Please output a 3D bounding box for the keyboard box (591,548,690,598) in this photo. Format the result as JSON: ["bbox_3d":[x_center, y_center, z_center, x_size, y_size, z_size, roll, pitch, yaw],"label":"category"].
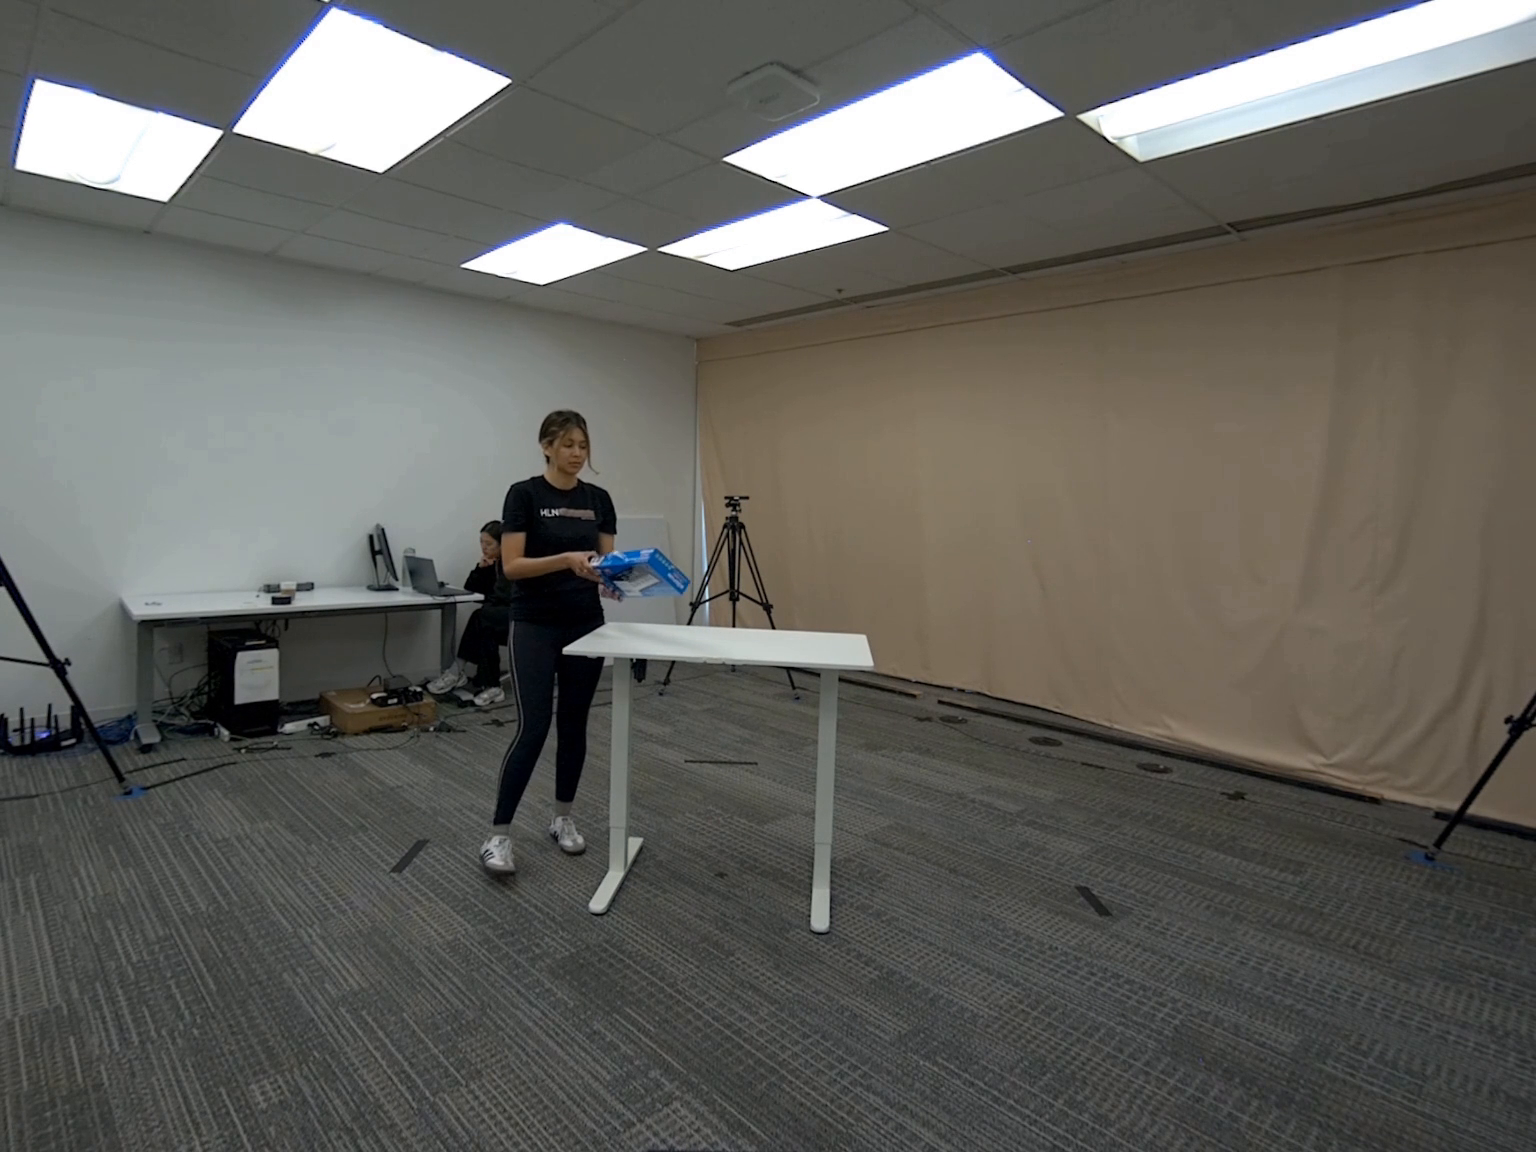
[{"bbox_3d":[-0.465,-0.003,2.880,0.172,0.059,0.446,47,-28,-25],"label":"keyboard box"}]
